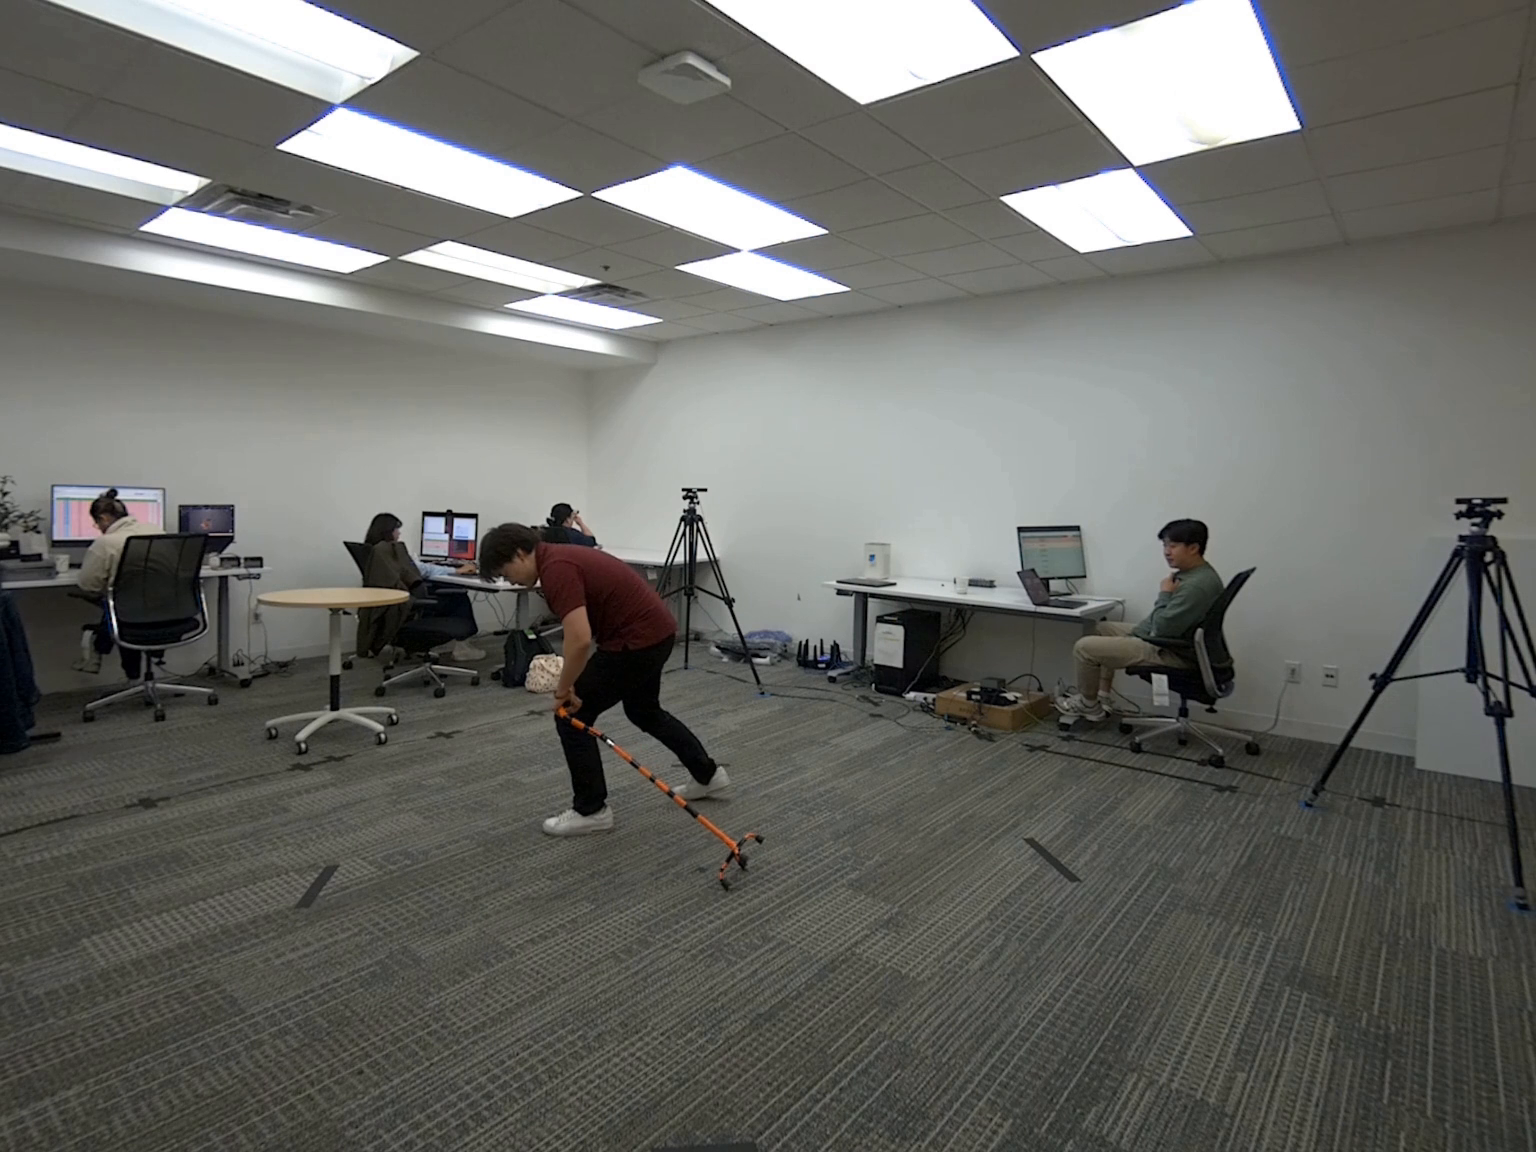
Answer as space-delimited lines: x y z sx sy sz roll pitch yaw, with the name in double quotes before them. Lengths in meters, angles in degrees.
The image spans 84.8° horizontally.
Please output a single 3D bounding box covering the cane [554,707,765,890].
"cane" -0.444 0.758 3.137 0.928 0.151 0.202 35 13 16
